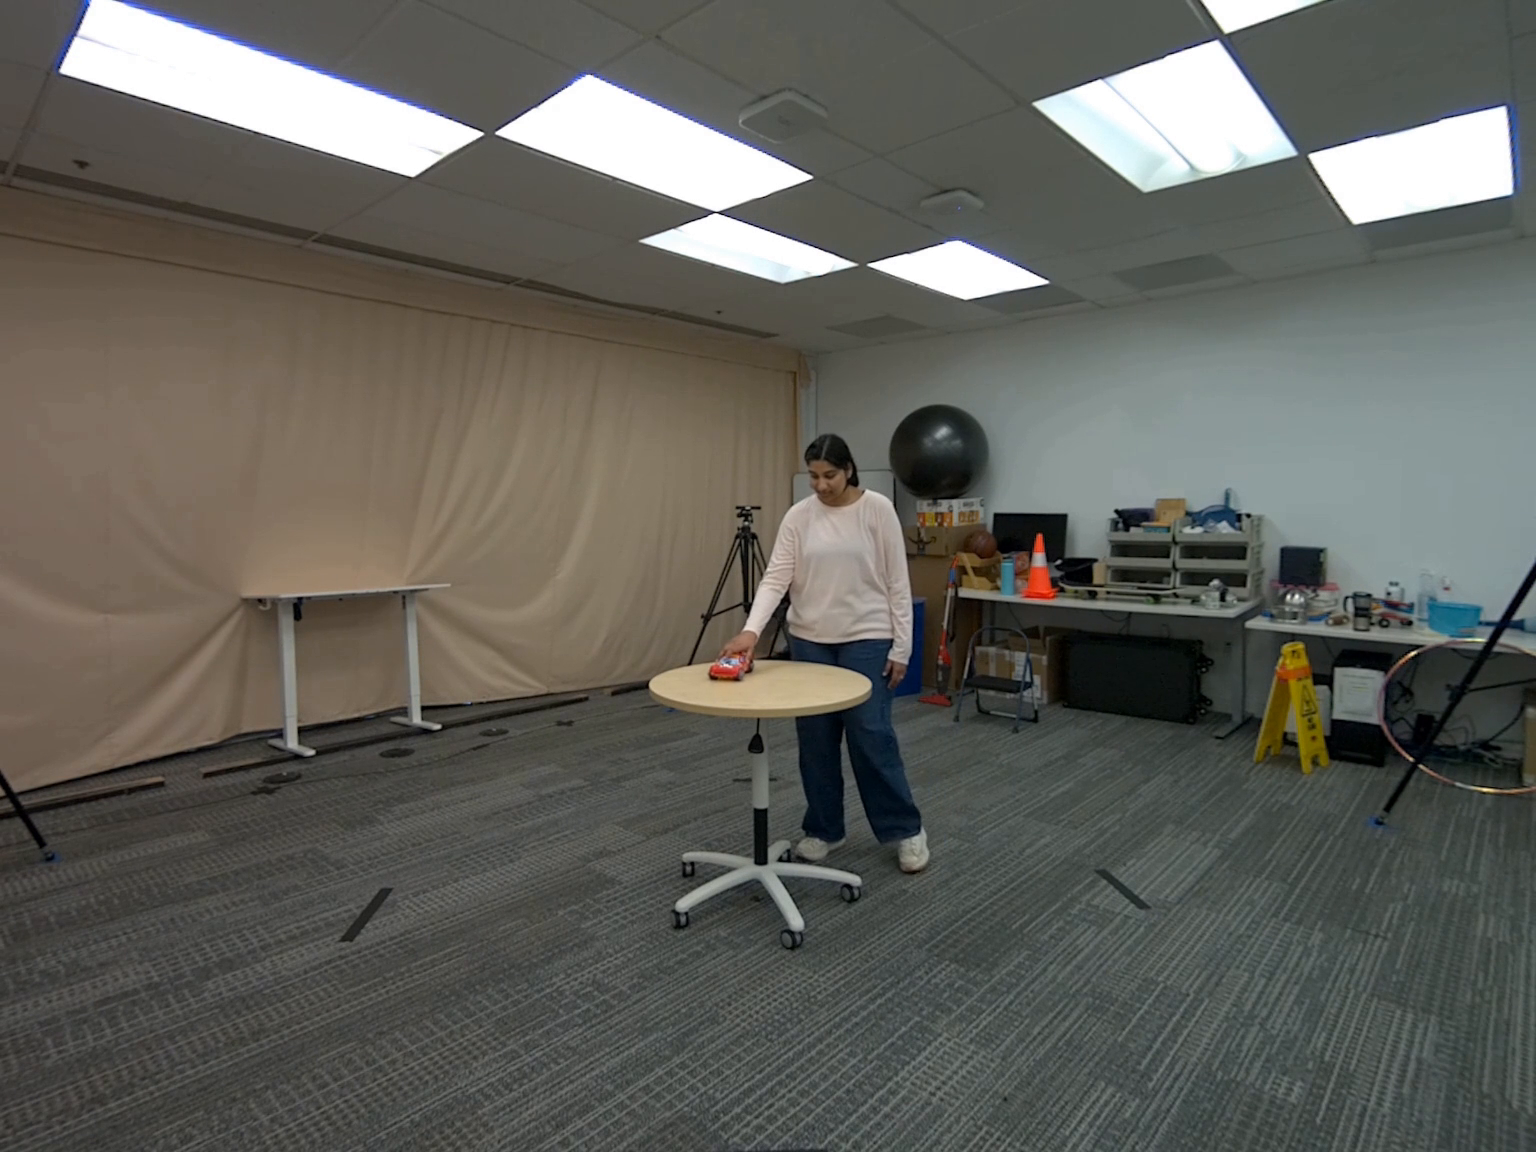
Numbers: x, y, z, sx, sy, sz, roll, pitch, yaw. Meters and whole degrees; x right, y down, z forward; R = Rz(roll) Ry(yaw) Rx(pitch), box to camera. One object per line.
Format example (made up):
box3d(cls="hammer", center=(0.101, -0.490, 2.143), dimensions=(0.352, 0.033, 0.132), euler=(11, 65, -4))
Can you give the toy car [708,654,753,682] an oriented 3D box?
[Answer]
box3d(cls="toy car", center=(-0.121, 0.325, 3.038), dimensions=(0.132, 0.082, 0.253), euler=(-1, 16, 14))
